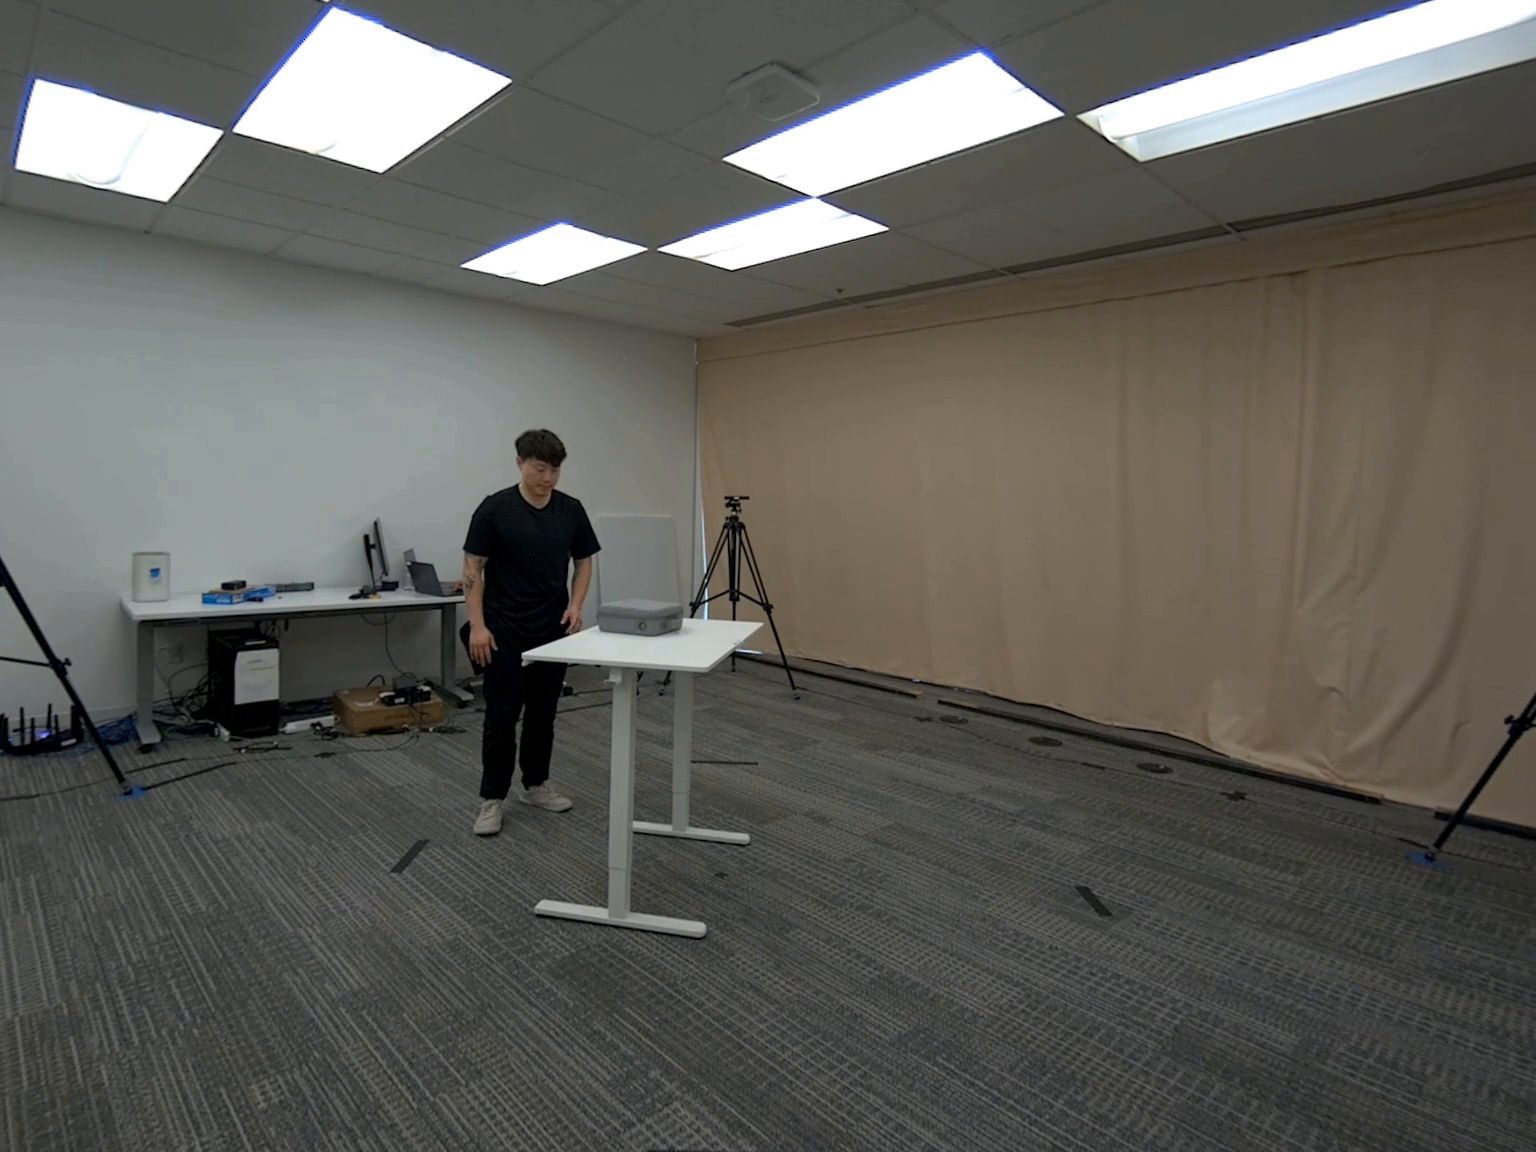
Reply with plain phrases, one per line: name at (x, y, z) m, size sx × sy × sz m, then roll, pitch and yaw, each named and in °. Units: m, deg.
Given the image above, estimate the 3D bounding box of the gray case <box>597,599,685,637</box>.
gray case at (-0.482, 0.152, 3.189) m, size 0.265 × 0.104 × 0.253 m, roll 5°, pitch 4°, yaw 21°
